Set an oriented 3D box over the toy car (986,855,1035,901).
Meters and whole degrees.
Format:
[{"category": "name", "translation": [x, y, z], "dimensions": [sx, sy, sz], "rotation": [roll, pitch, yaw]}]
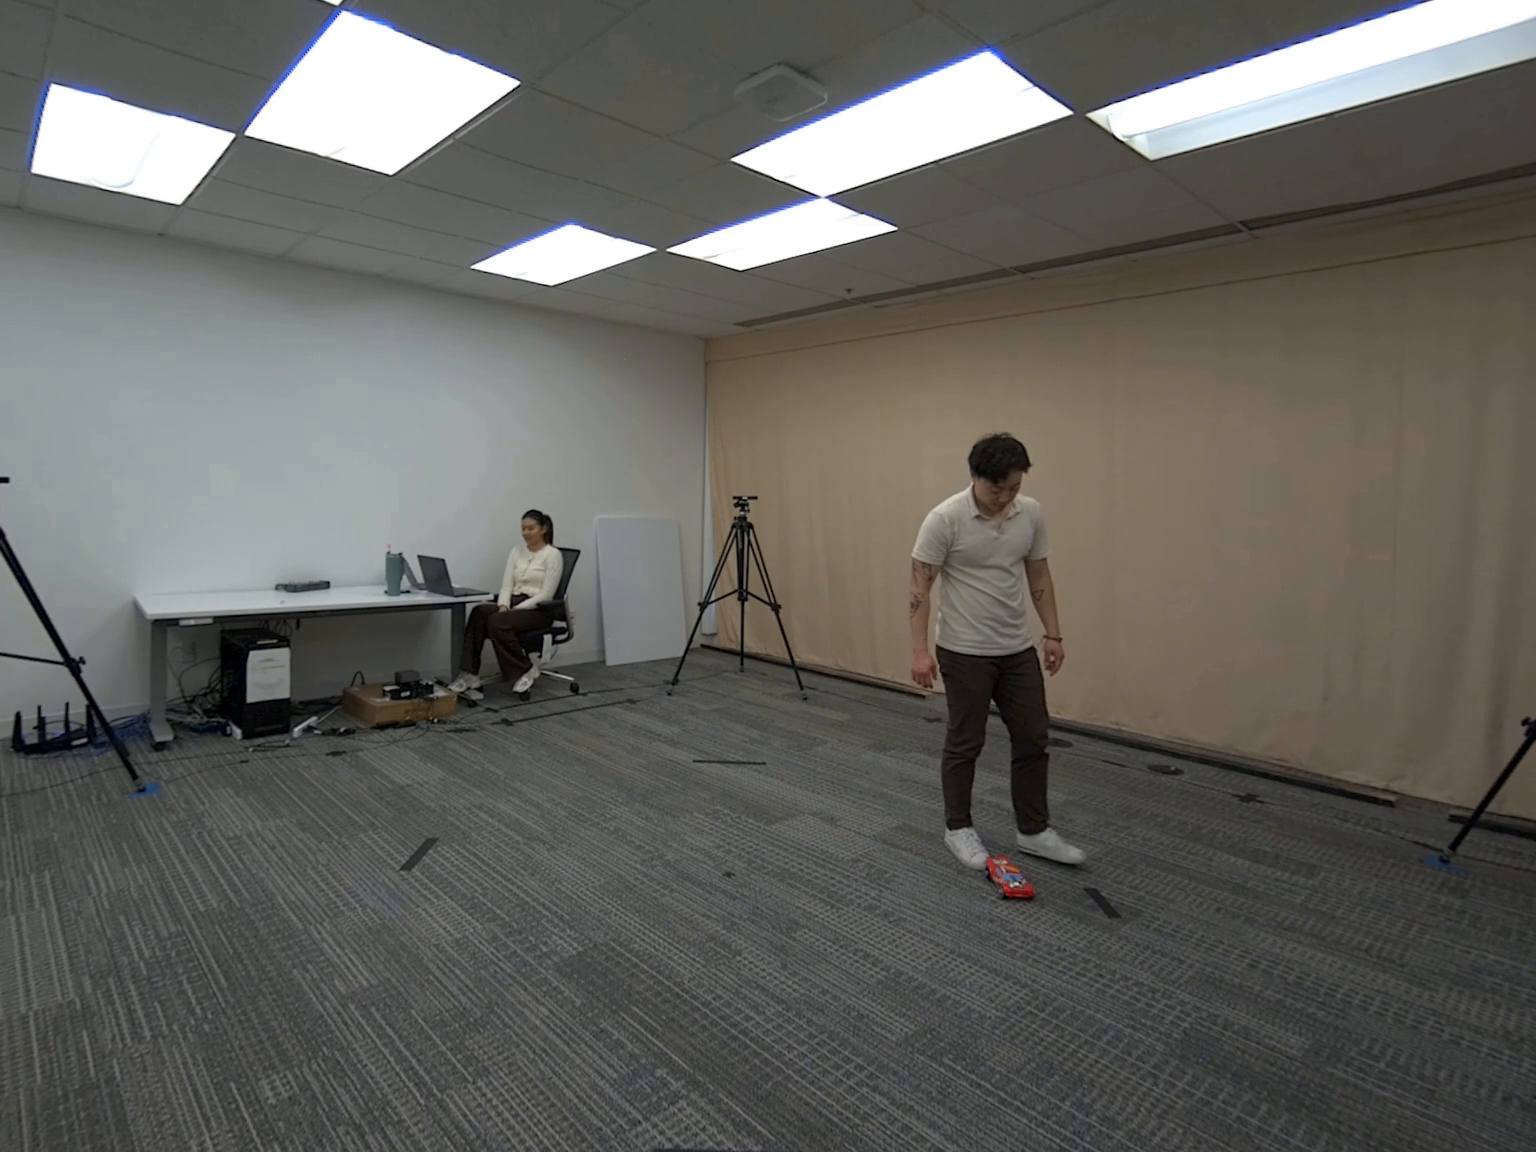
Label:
[{"category": "toy car", "translation": [0.868, 1.106, 3.072], "dimensions": [0.130, 0.082, 0.257], "rotation": [1, 16, -3]}]
